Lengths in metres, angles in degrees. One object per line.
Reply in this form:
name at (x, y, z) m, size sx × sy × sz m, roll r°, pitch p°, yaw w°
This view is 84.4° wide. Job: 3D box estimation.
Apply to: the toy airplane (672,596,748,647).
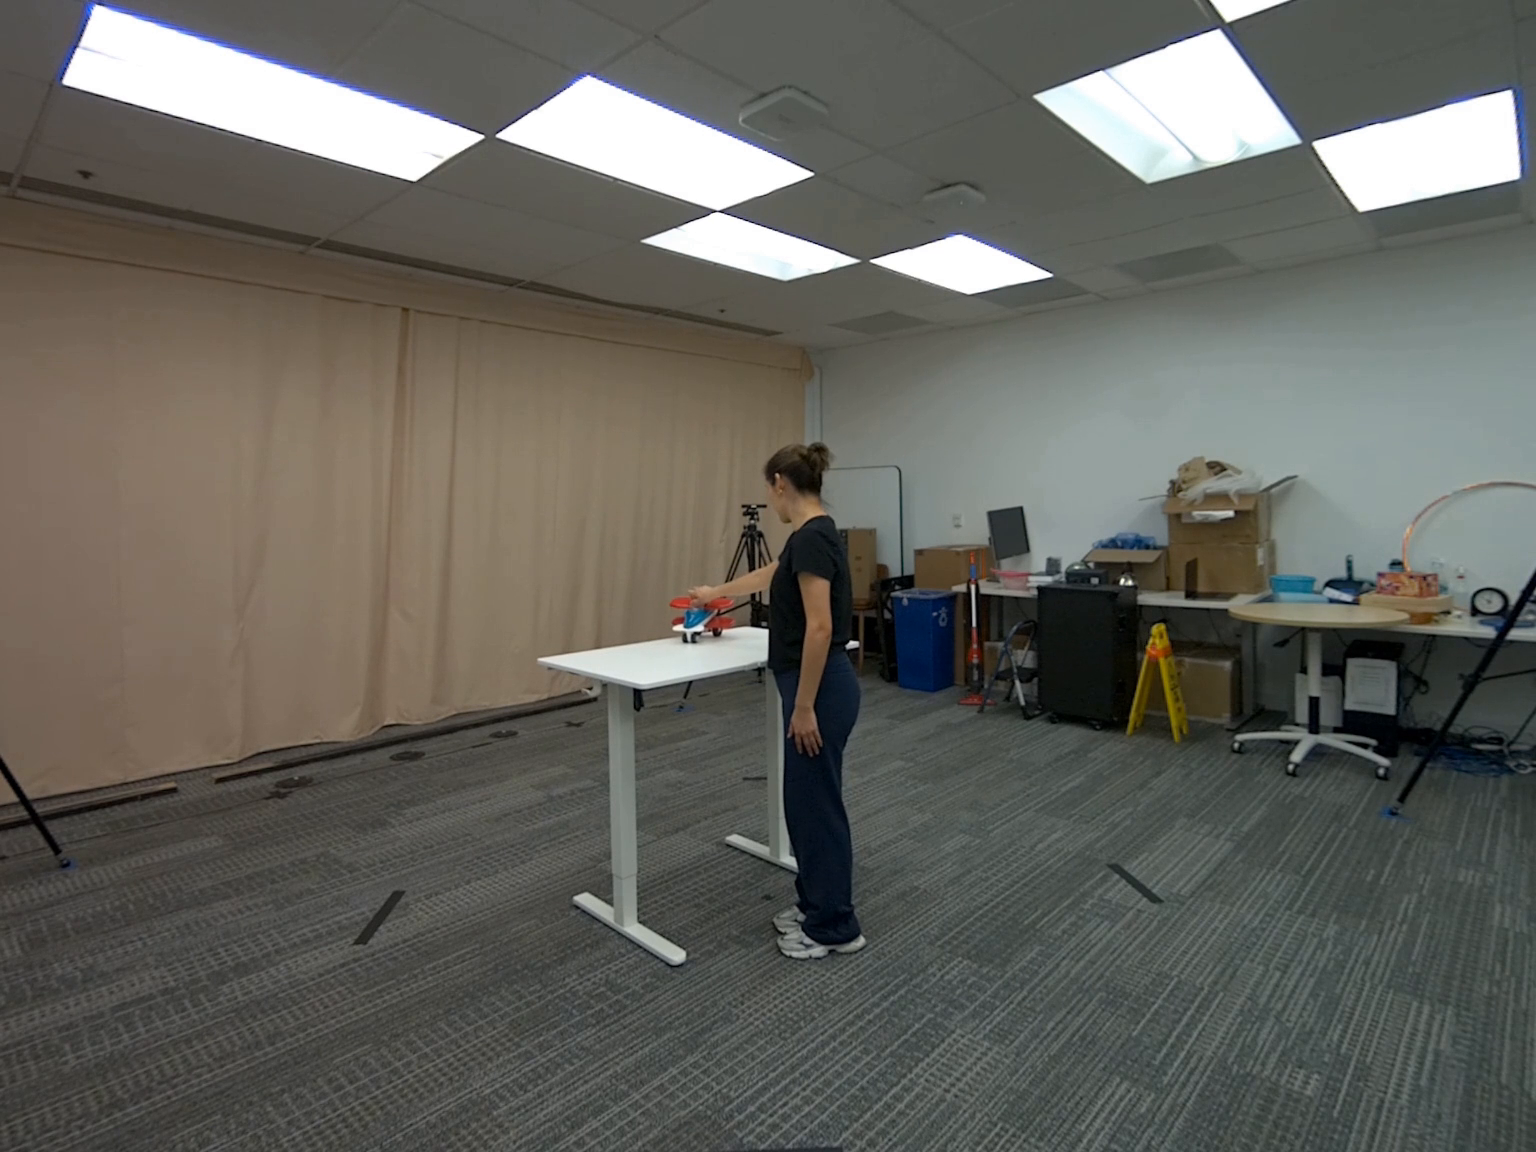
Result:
toy airplane at (-0.227, 0.164, 3.213) m, size 0.248 × 0.156 × 0.262 m, roll -1°, pitch 4°, yaw -10°
